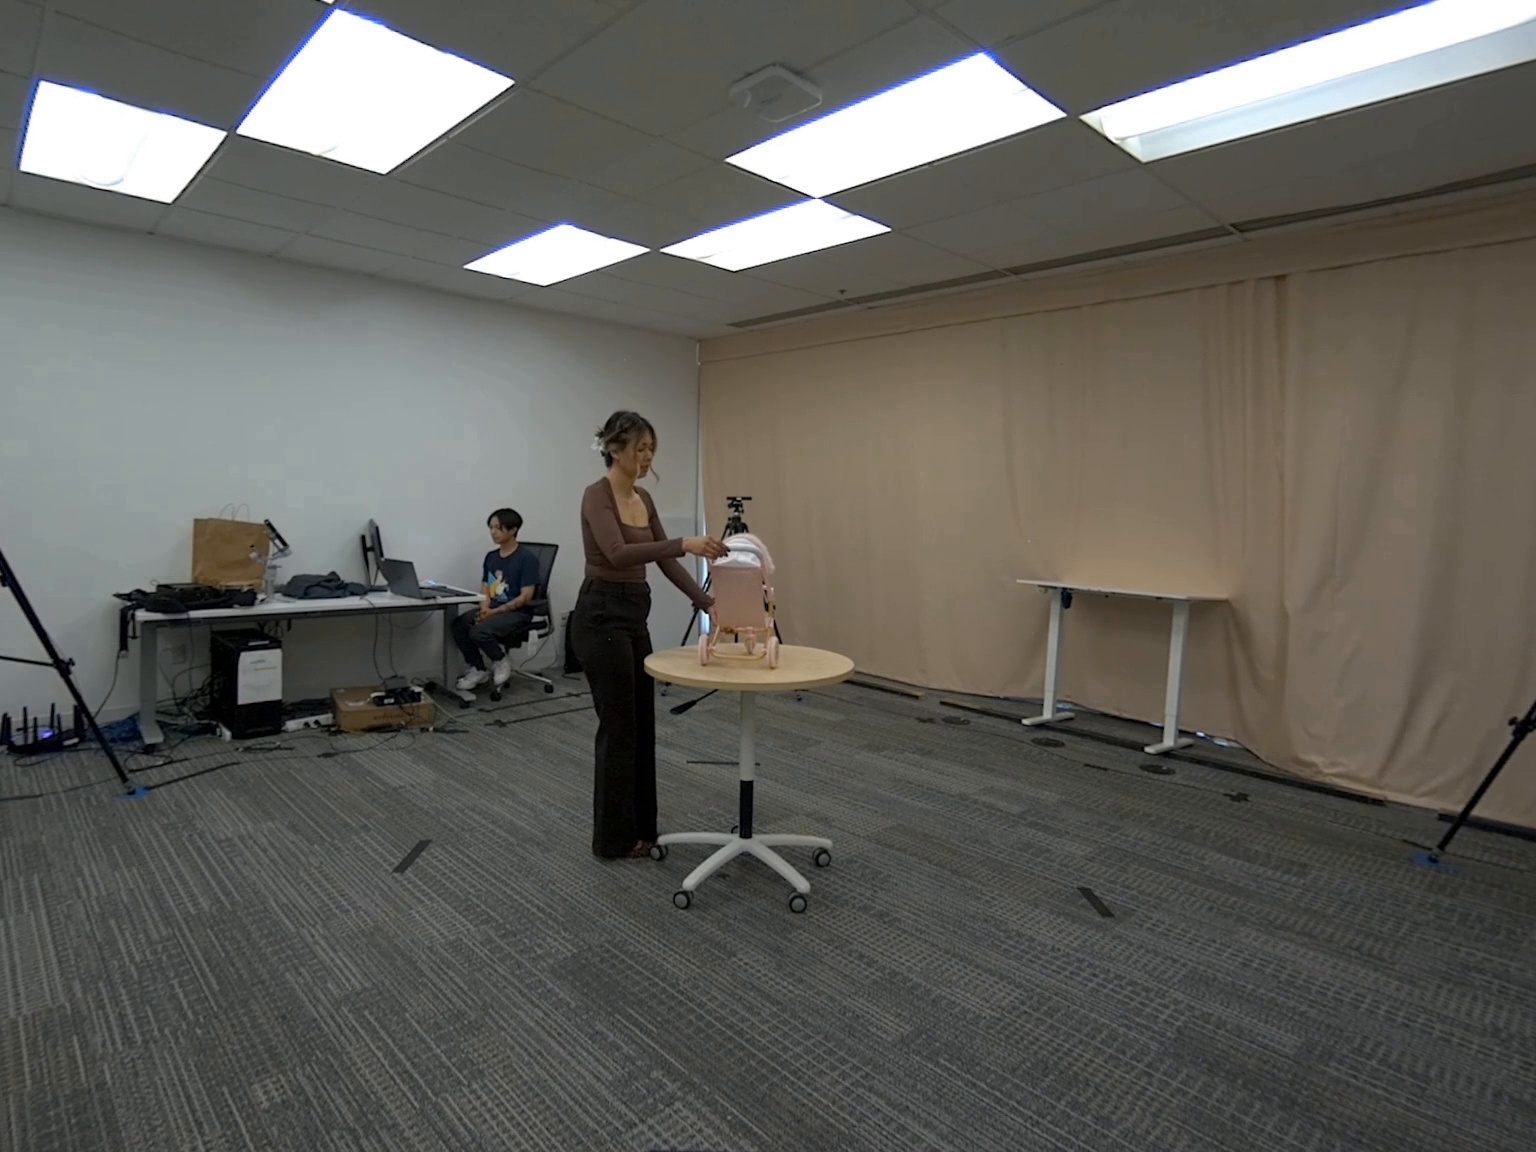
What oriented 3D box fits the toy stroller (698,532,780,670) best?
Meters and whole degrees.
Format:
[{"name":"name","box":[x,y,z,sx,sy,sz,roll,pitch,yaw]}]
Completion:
[{"name":"toy stroller","box":[-0.093,0.087,3.030,0.284,0.528,0.342,2,19,11]}]
